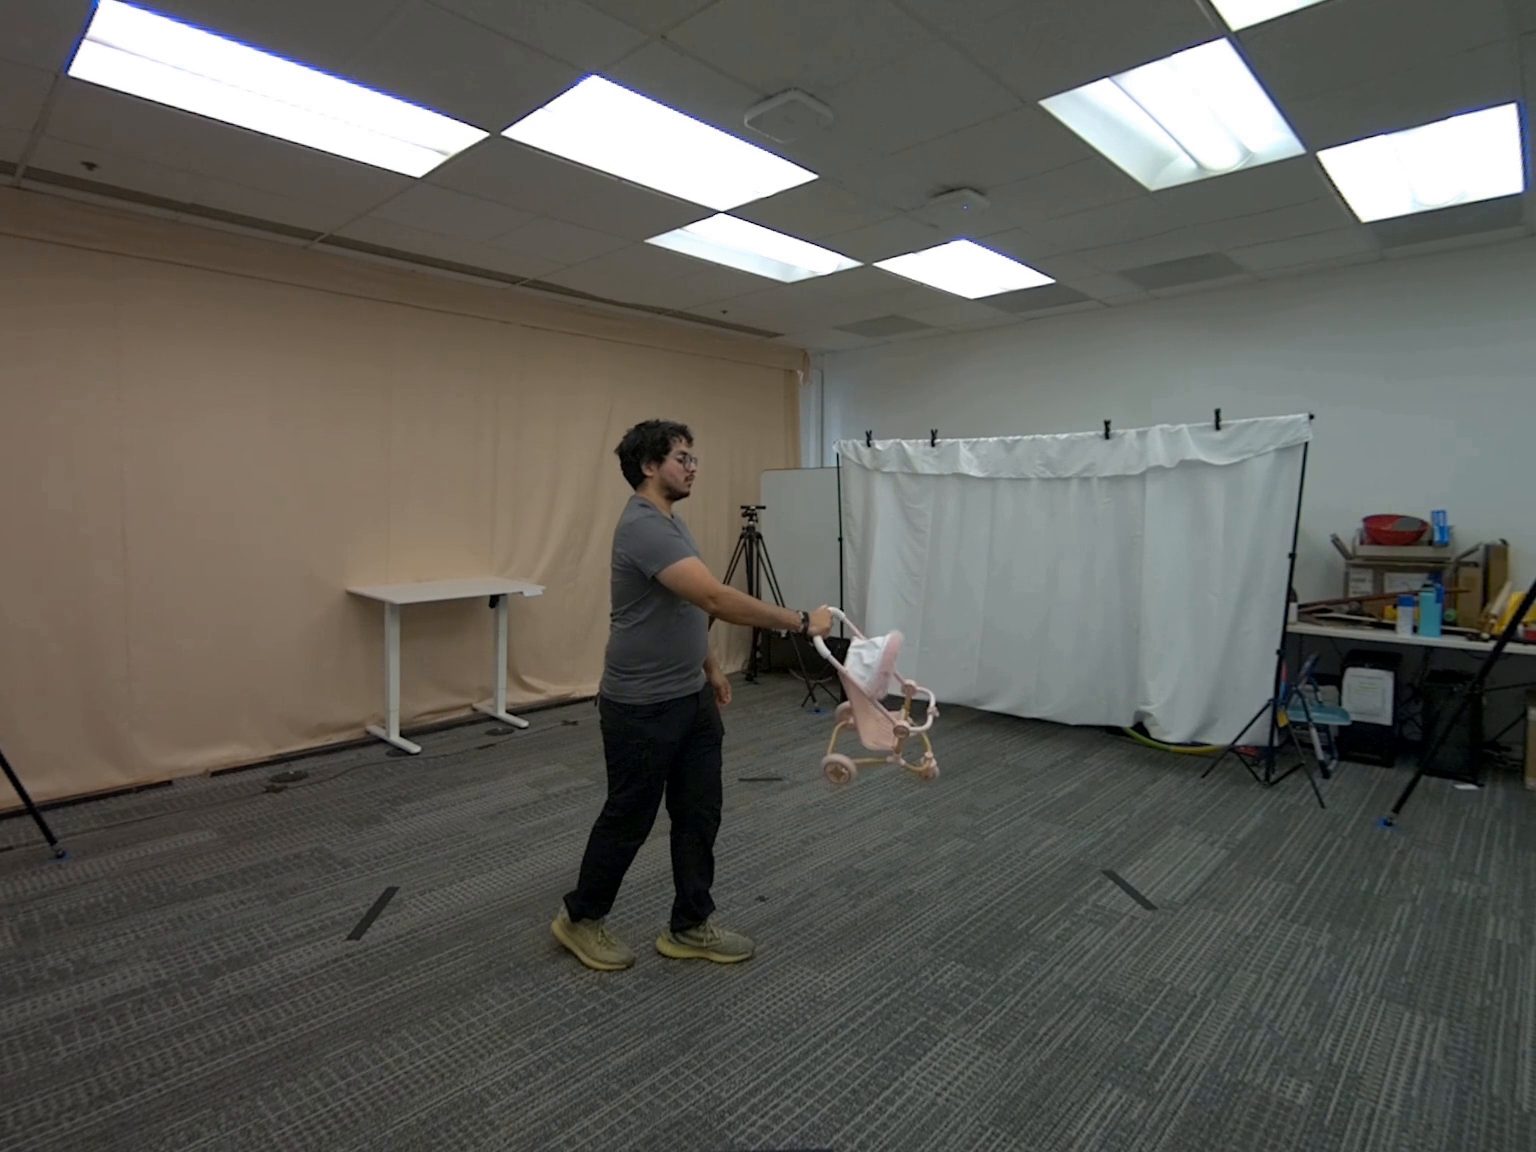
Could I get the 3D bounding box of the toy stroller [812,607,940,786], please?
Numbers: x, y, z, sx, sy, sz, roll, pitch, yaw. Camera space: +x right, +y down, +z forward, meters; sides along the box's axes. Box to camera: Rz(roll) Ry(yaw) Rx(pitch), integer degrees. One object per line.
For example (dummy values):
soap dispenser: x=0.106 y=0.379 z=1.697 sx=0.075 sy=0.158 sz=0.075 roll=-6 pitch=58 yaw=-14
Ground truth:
toy stroller: x=0.336 y=0.372 z=2.437 sx=0.349 sy=0.526 sz=0.280 roll=4 pitch=28 yaw=21
